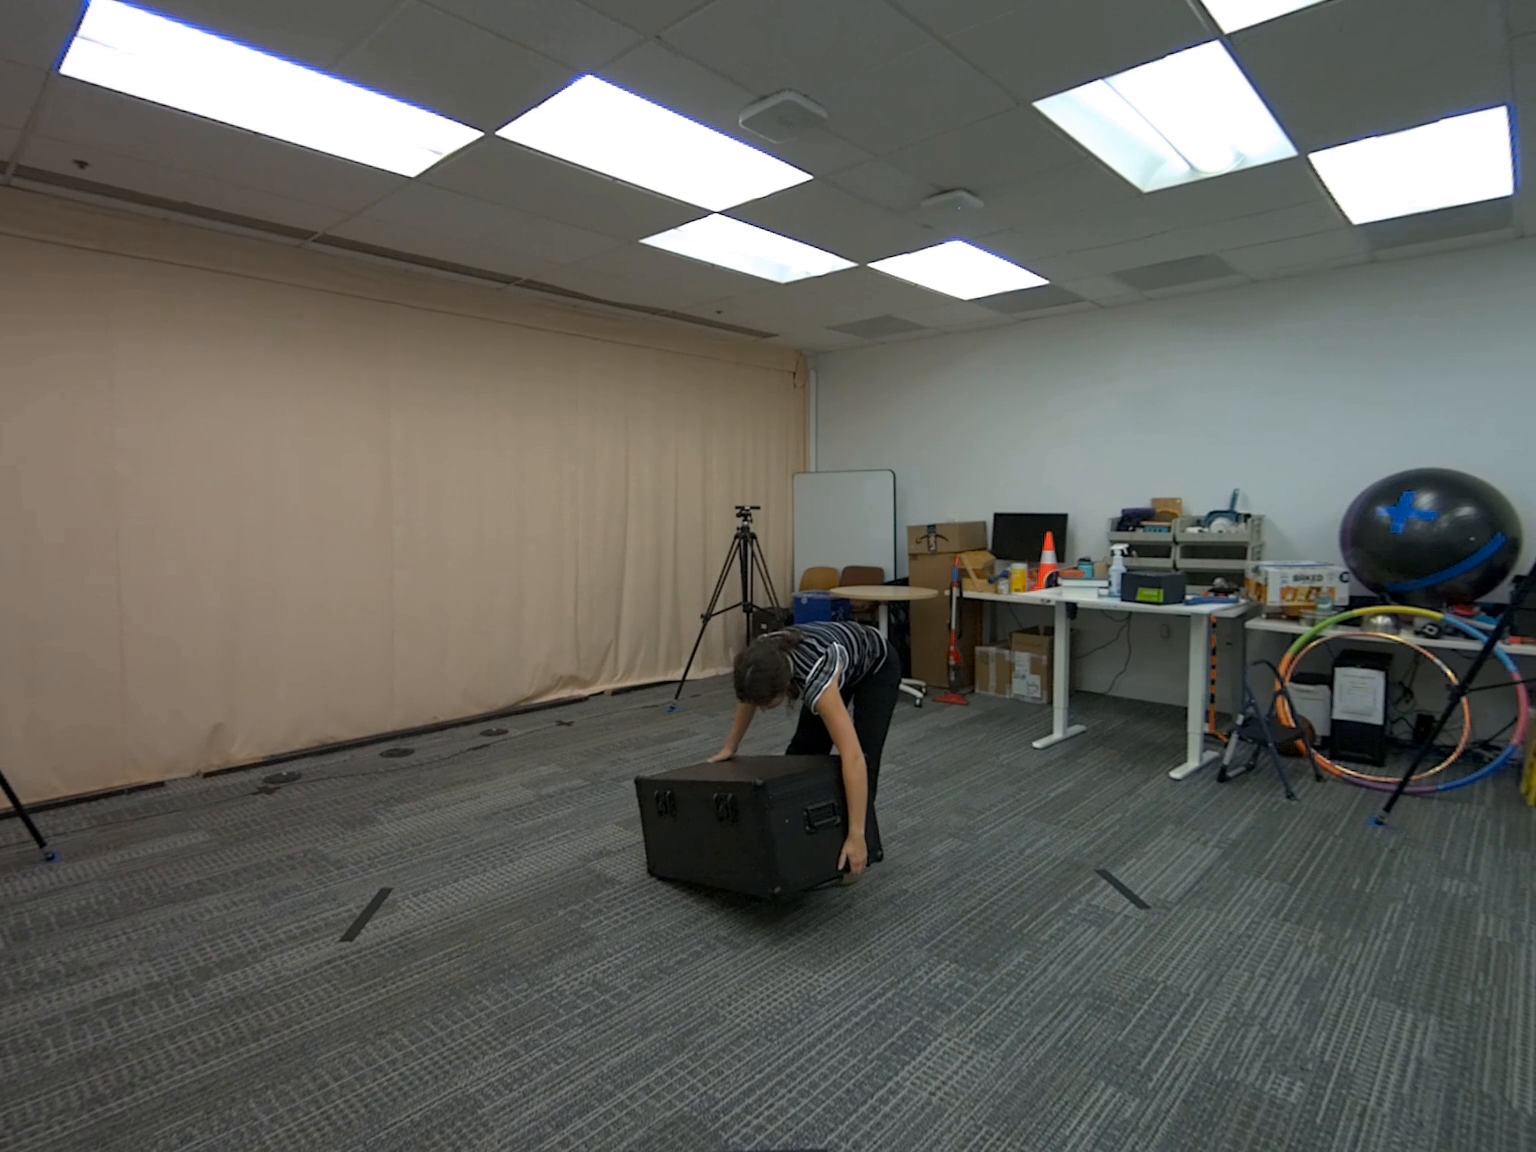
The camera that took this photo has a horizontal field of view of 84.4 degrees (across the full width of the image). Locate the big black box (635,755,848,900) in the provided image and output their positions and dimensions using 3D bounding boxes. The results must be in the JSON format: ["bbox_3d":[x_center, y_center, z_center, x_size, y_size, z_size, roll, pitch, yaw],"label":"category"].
[{"bbox_3d":[-0.075,0.879,3.061,0.506,0.399,0.882,-2,-9,-38],"label":"big black box"}]
